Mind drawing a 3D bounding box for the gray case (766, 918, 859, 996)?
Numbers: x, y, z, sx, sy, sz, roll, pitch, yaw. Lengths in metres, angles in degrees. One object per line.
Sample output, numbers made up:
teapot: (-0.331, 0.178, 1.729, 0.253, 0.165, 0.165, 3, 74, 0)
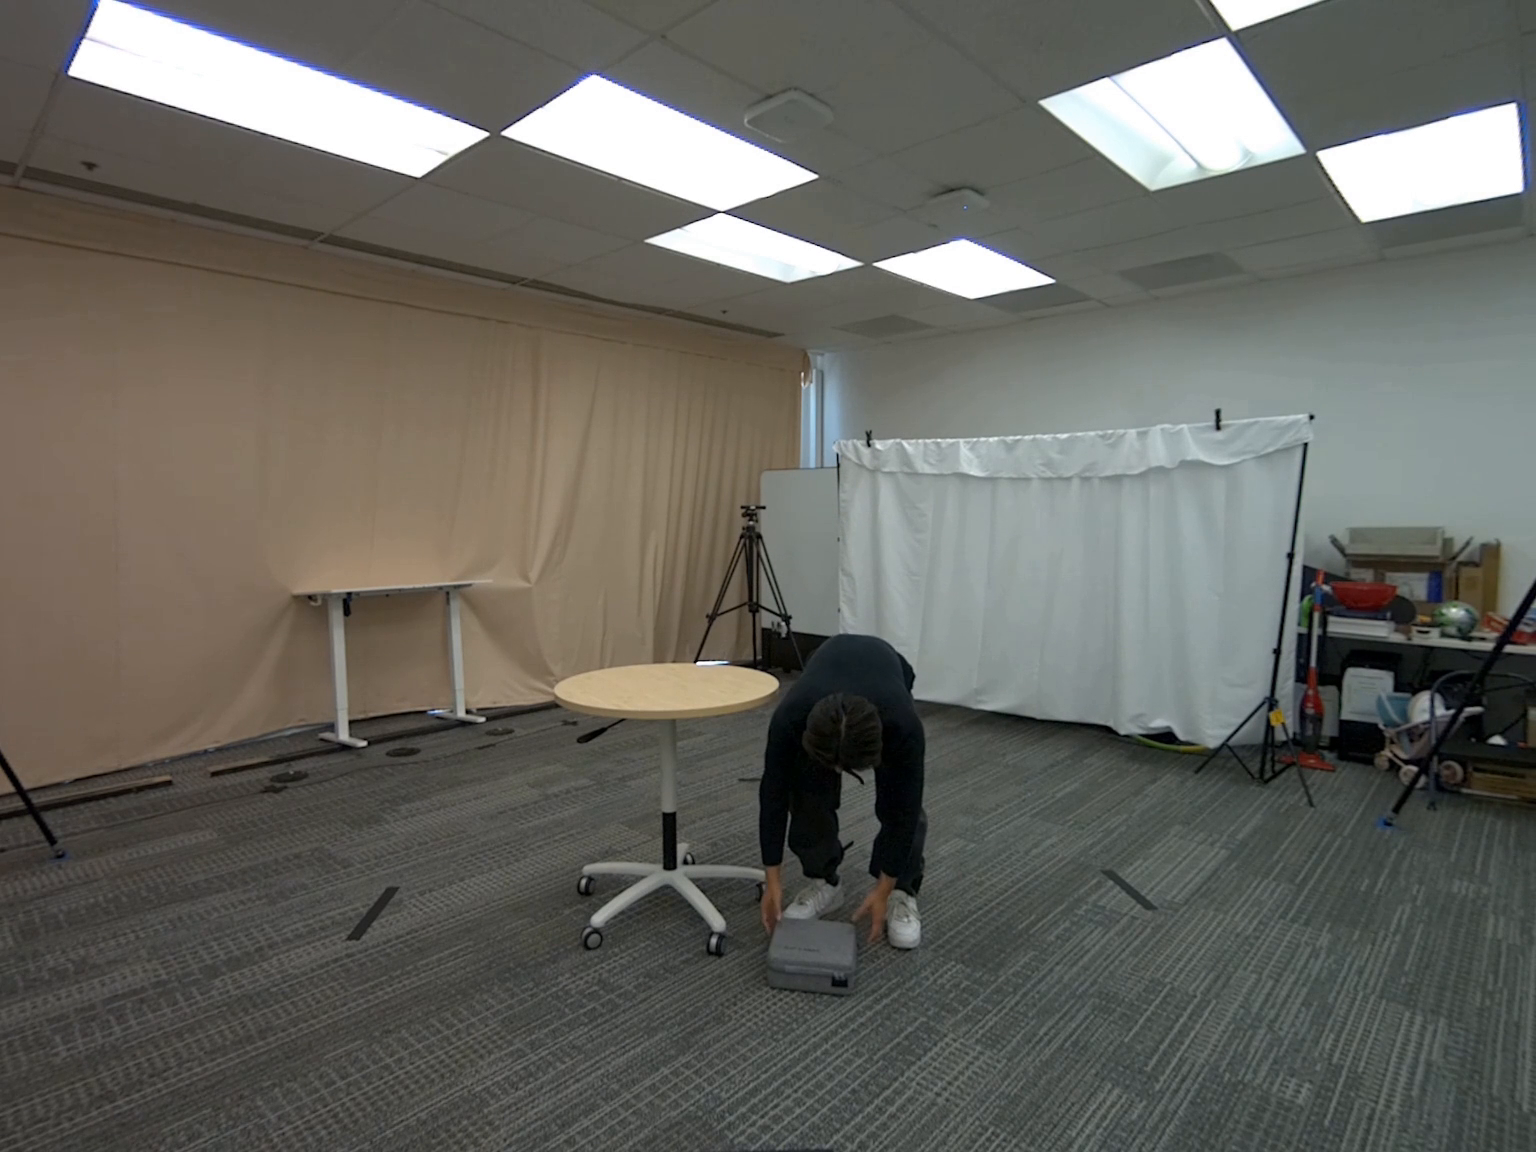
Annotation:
gray case: (0.132, 1.118, 2.523, 0.260, 0.104, 0.258, 1, 5, 10)
